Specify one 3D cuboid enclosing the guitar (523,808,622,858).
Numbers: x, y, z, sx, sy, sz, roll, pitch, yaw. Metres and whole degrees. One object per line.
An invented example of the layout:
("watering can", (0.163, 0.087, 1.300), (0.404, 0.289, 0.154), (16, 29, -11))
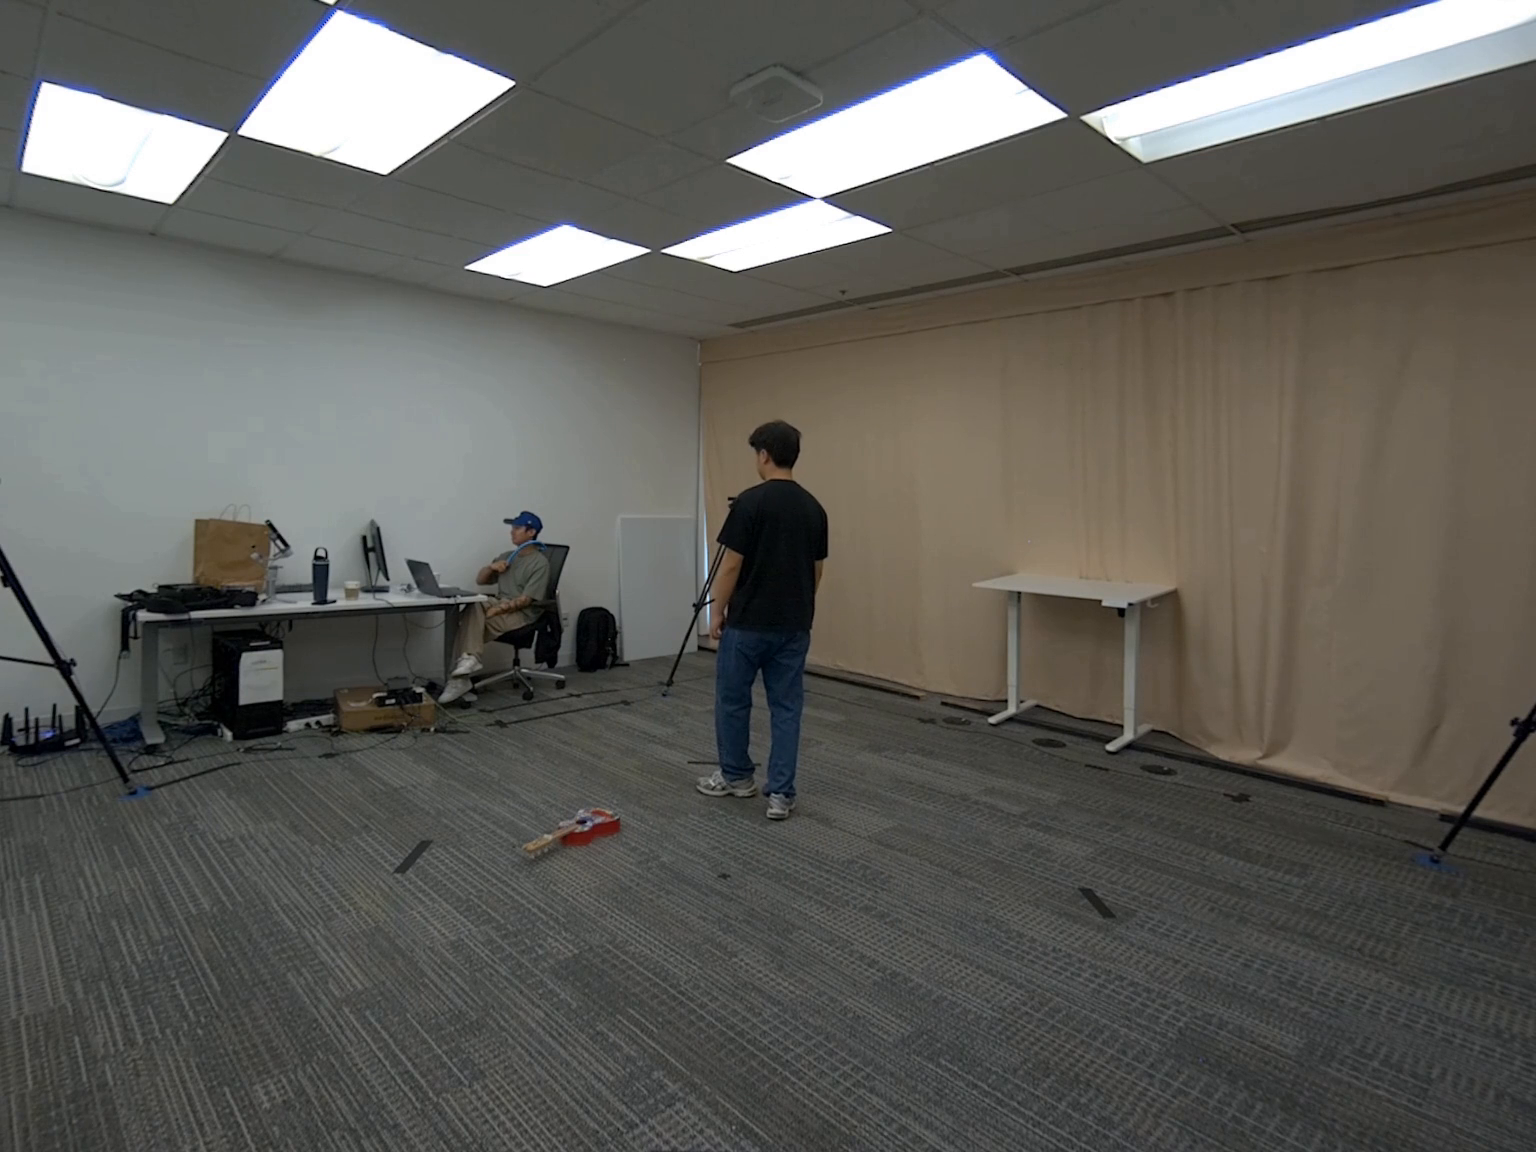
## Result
("guitar", (-0.827, 1.033, 3.386), (0.198, 0.070, 0.487), (5, 6, 37))
